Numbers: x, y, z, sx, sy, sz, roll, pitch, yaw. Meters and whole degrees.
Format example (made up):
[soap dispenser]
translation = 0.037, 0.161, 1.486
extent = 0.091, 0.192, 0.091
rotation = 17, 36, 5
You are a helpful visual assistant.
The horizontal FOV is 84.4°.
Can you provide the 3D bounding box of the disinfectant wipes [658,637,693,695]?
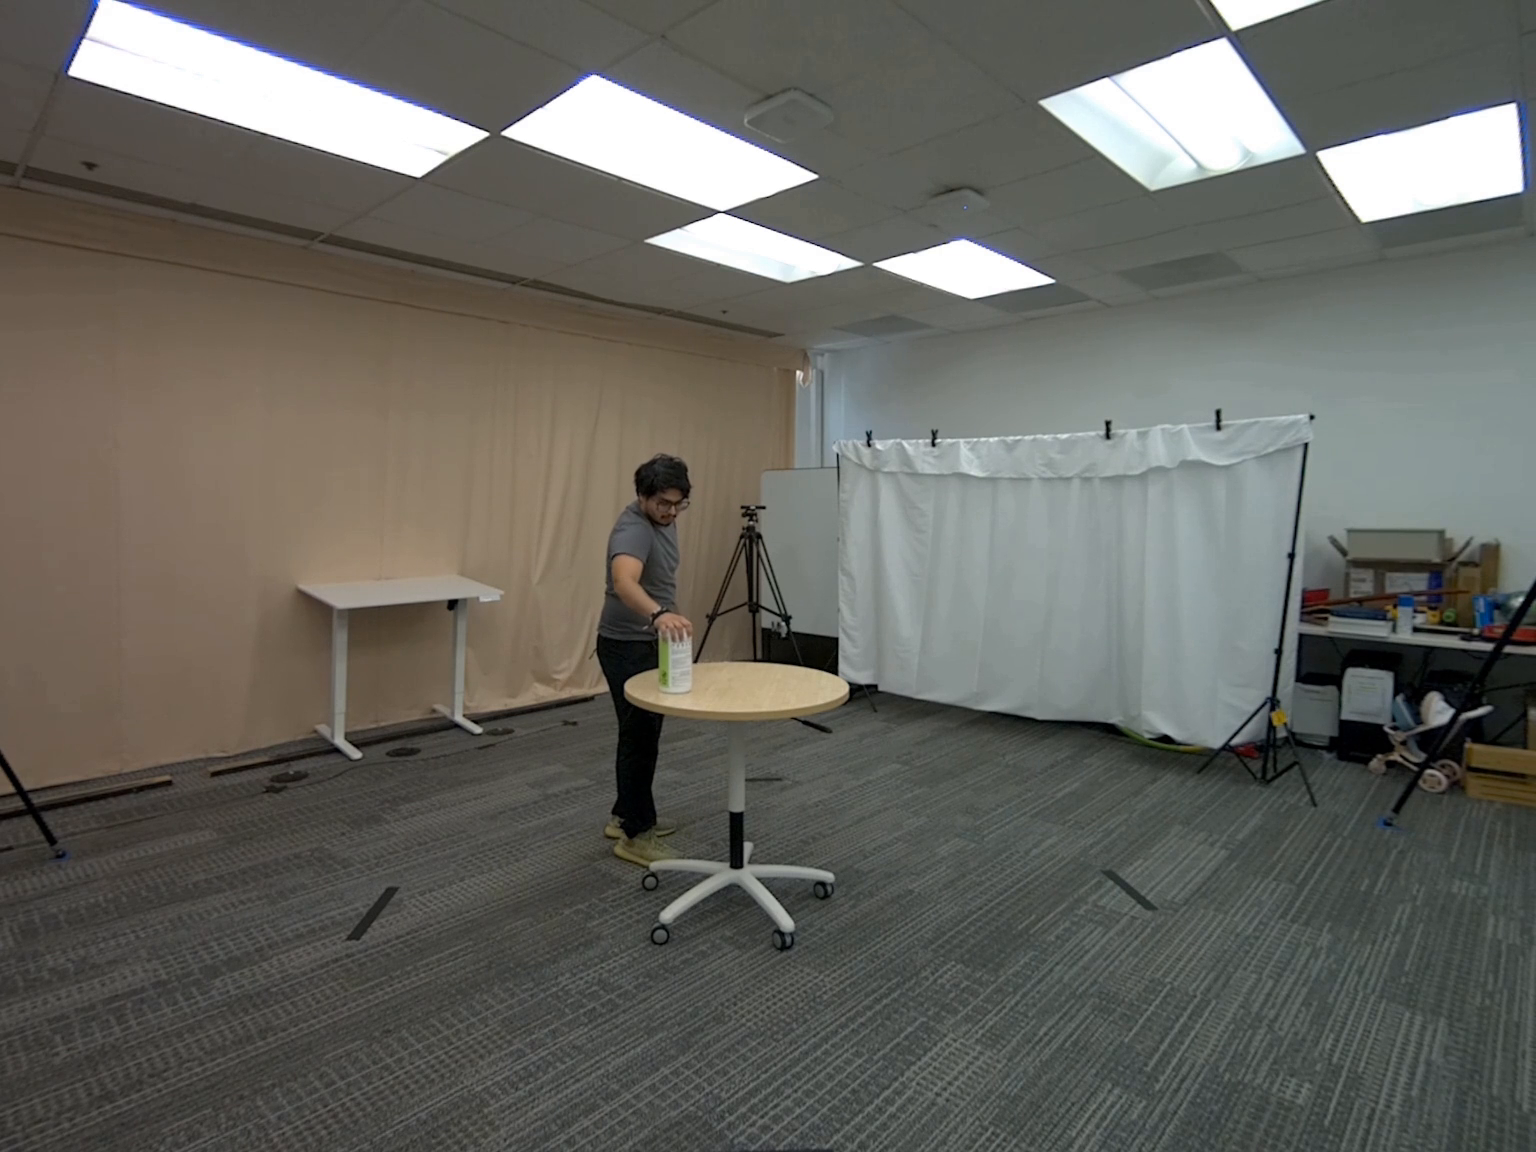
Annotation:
[disinfectant wipes]
translation = -0.304, 0.274, 2.784
extent = 0.118, 0.217, 0.118
rotation = -2, 3, -2
